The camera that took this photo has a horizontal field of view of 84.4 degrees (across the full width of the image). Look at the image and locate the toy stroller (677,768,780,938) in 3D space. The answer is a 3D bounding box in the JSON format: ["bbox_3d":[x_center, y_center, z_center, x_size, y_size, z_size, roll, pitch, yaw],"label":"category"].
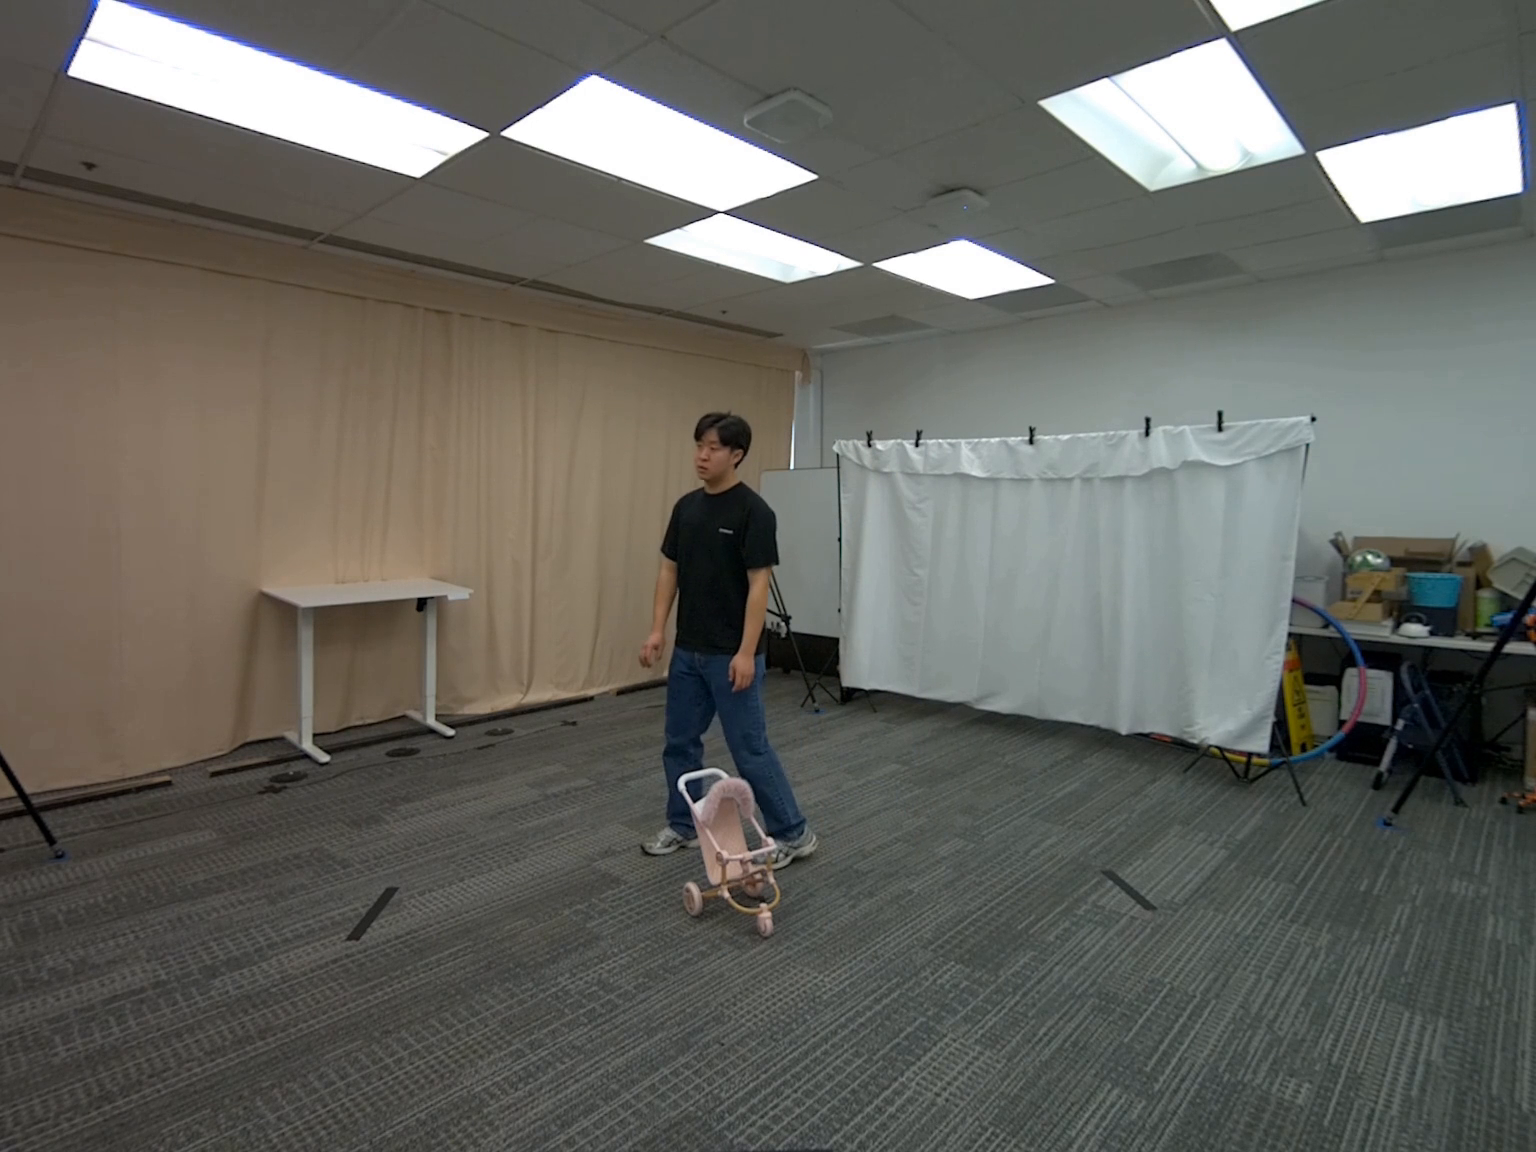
[{"bbox_3d":[-0.119,0.929,2.870,0.274,0.539,0.348,-2,-12,-30],"label":"toy stroller"}]
